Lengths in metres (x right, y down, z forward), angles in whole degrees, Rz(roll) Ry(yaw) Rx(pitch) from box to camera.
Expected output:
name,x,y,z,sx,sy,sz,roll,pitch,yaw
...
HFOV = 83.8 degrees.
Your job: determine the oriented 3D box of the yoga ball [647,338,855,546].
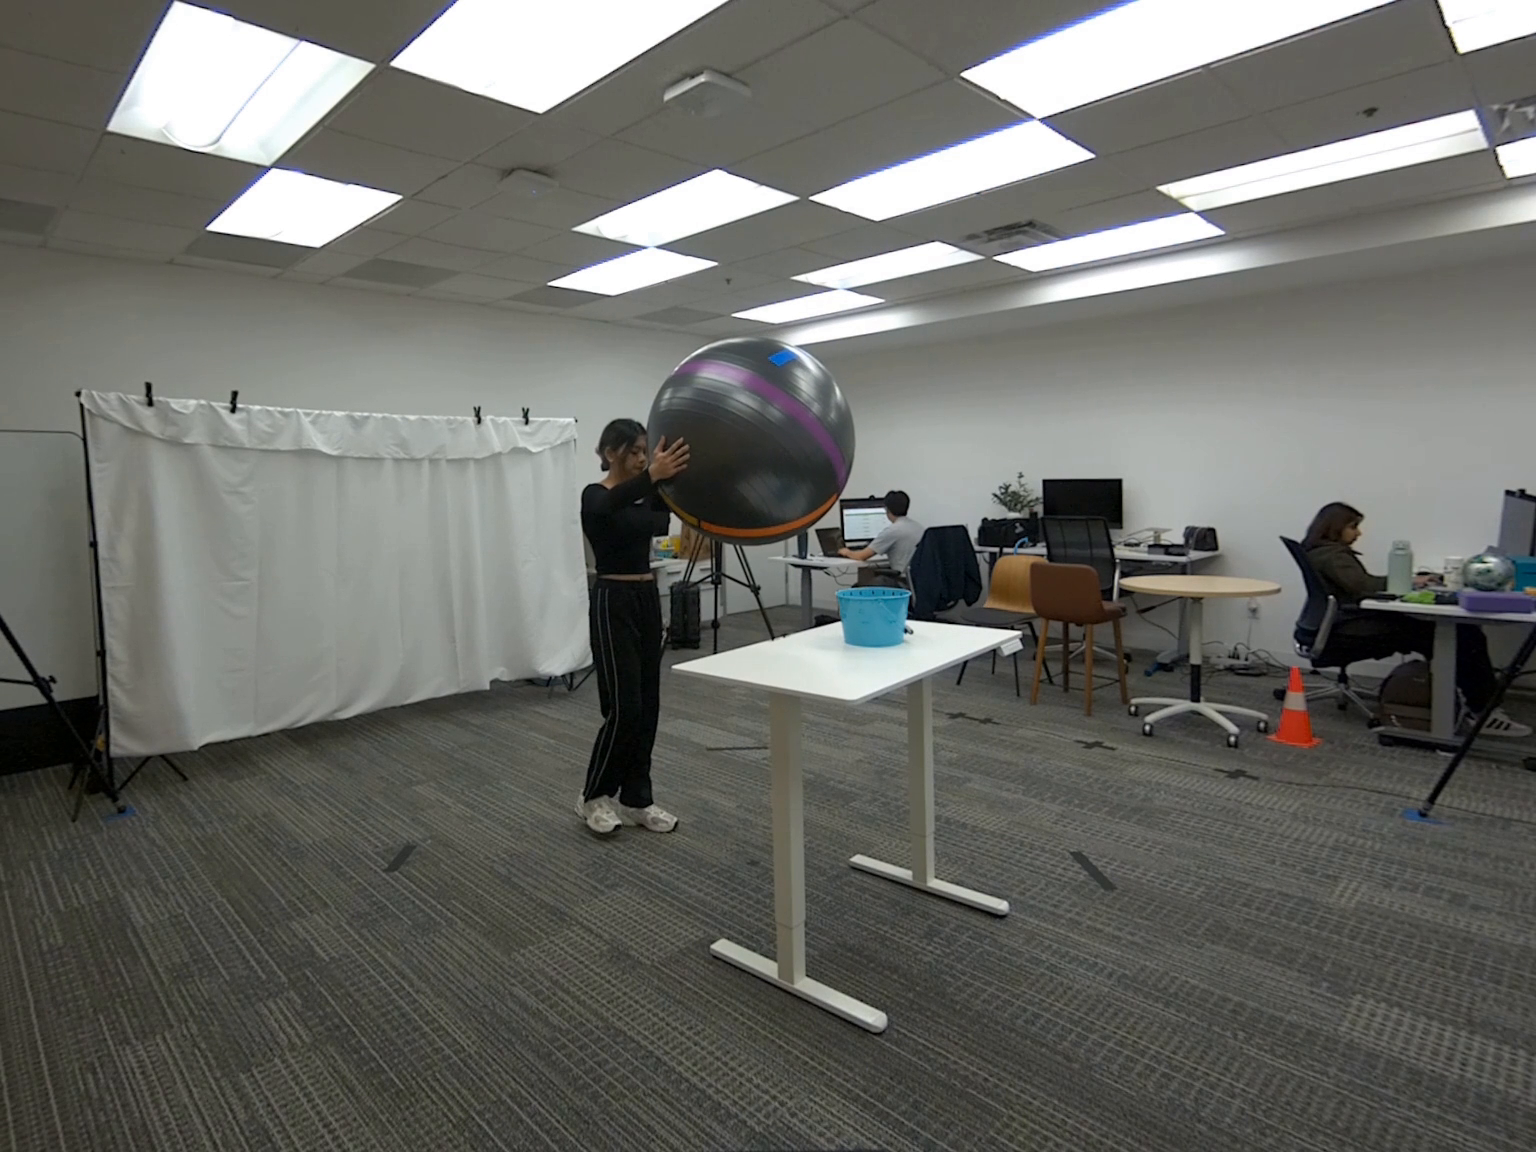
name,x,y,z,sx,sy,sz,roll,pitch,yaw
yoga ball,-0.064,-0.482,3.115,0.757,0.755,0.762,-1,5,-2
